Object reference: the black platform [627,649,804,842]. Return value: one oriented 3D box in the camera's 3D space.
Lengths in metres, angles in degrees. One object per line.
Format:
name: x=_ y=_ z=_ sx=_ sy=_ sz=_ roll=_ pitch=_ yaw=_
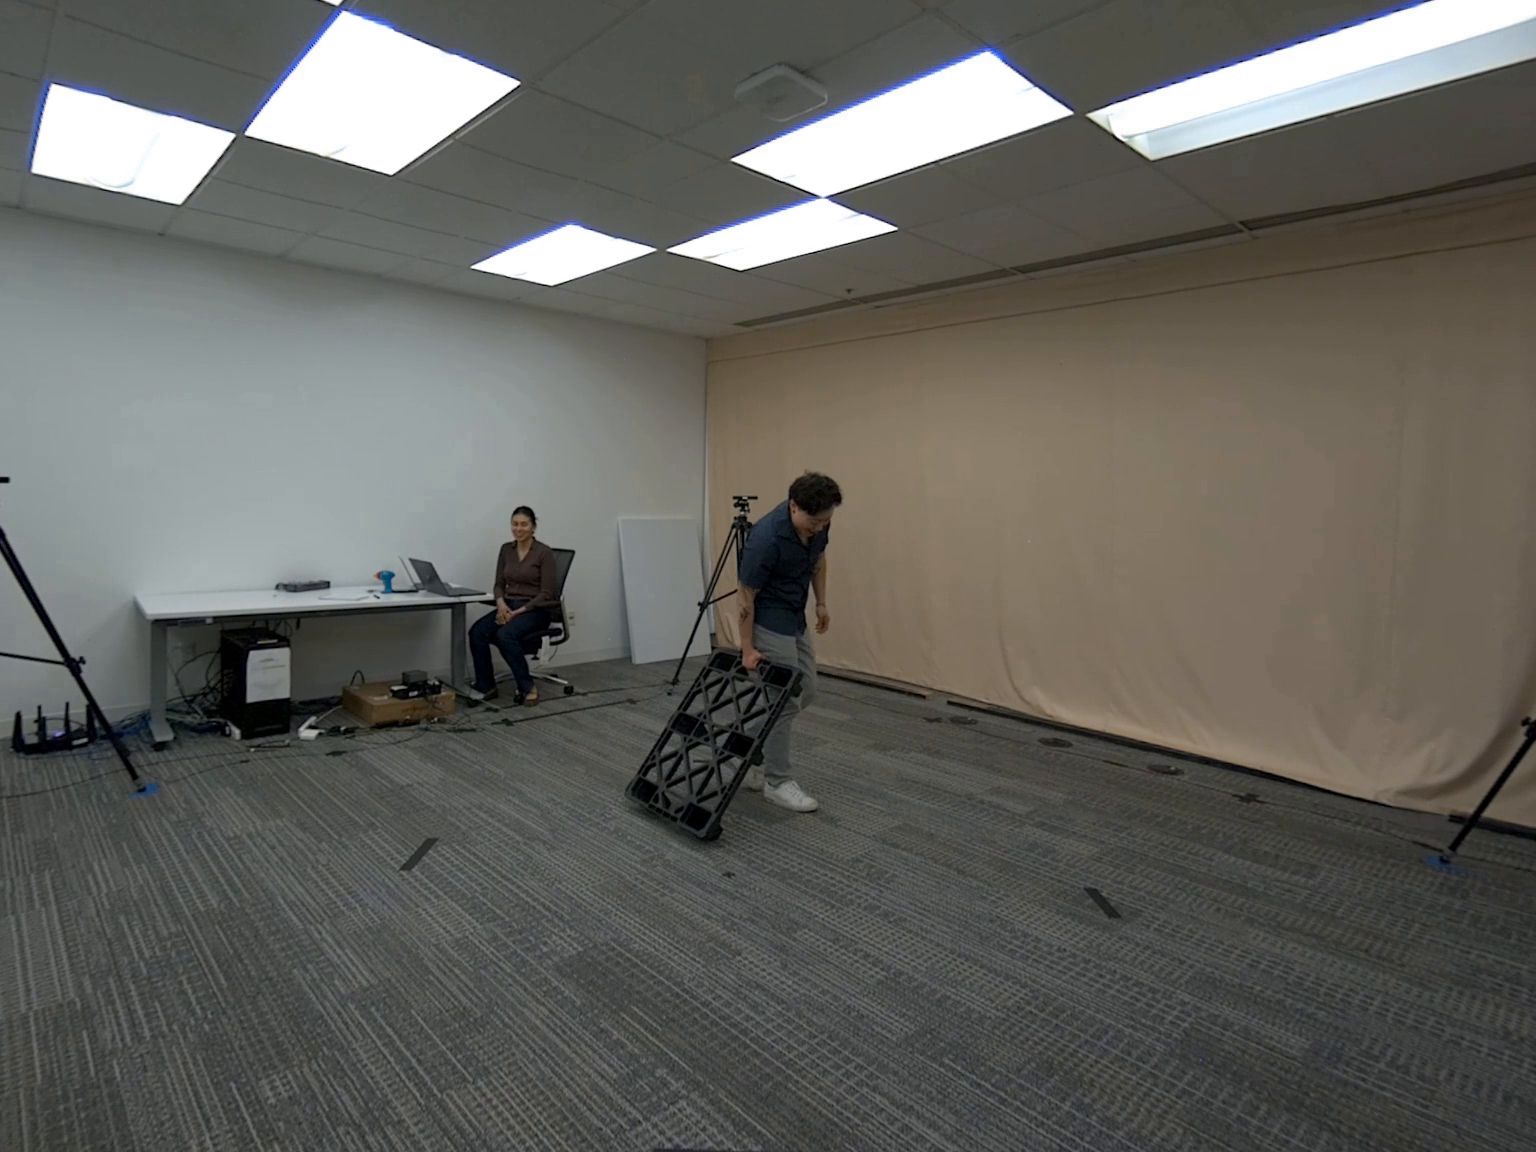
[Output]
black platform: x=-0.228 y=0.726 z=3.696 sx=0.620 sy=0.809 sz=0.139 roll=5 pitch=-34 yaw=50
